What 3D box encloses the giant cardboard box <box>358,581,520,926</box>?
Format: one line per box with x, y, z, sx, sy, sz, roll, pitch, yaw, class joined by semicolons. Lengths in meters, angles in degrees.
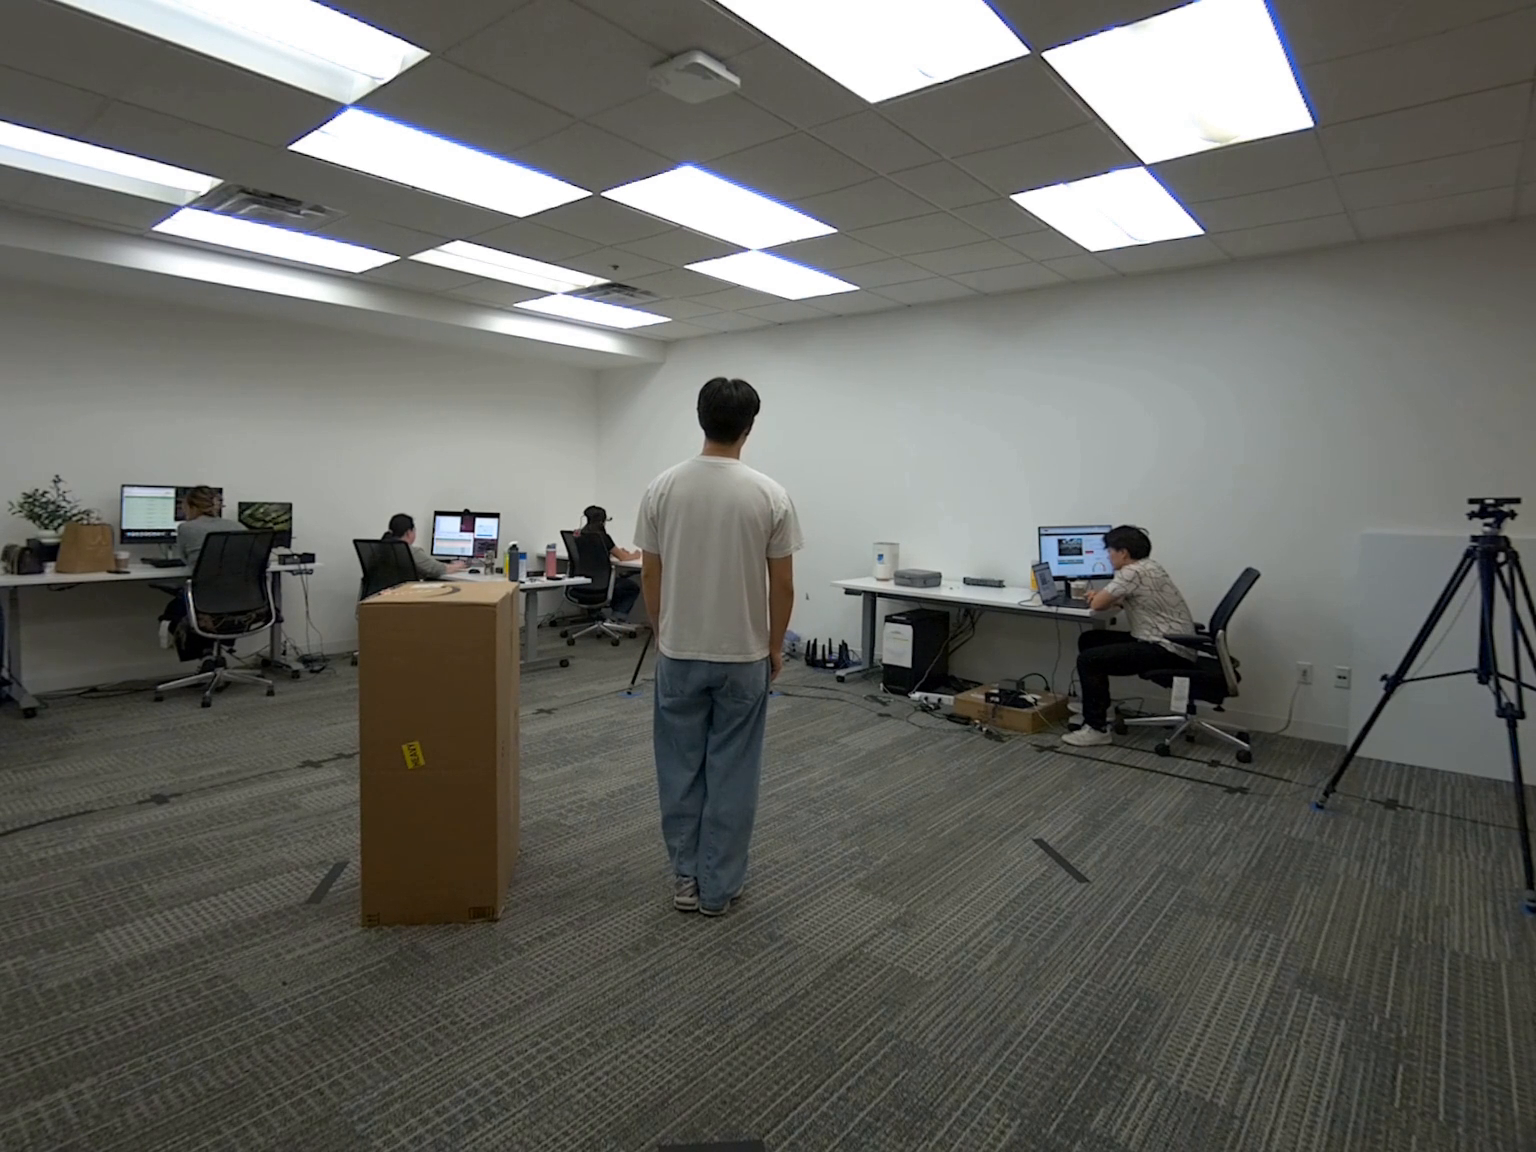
-1.121;0.560;2.939;0.423;1.023;0.584;0;3;-8;giant cardboard box
